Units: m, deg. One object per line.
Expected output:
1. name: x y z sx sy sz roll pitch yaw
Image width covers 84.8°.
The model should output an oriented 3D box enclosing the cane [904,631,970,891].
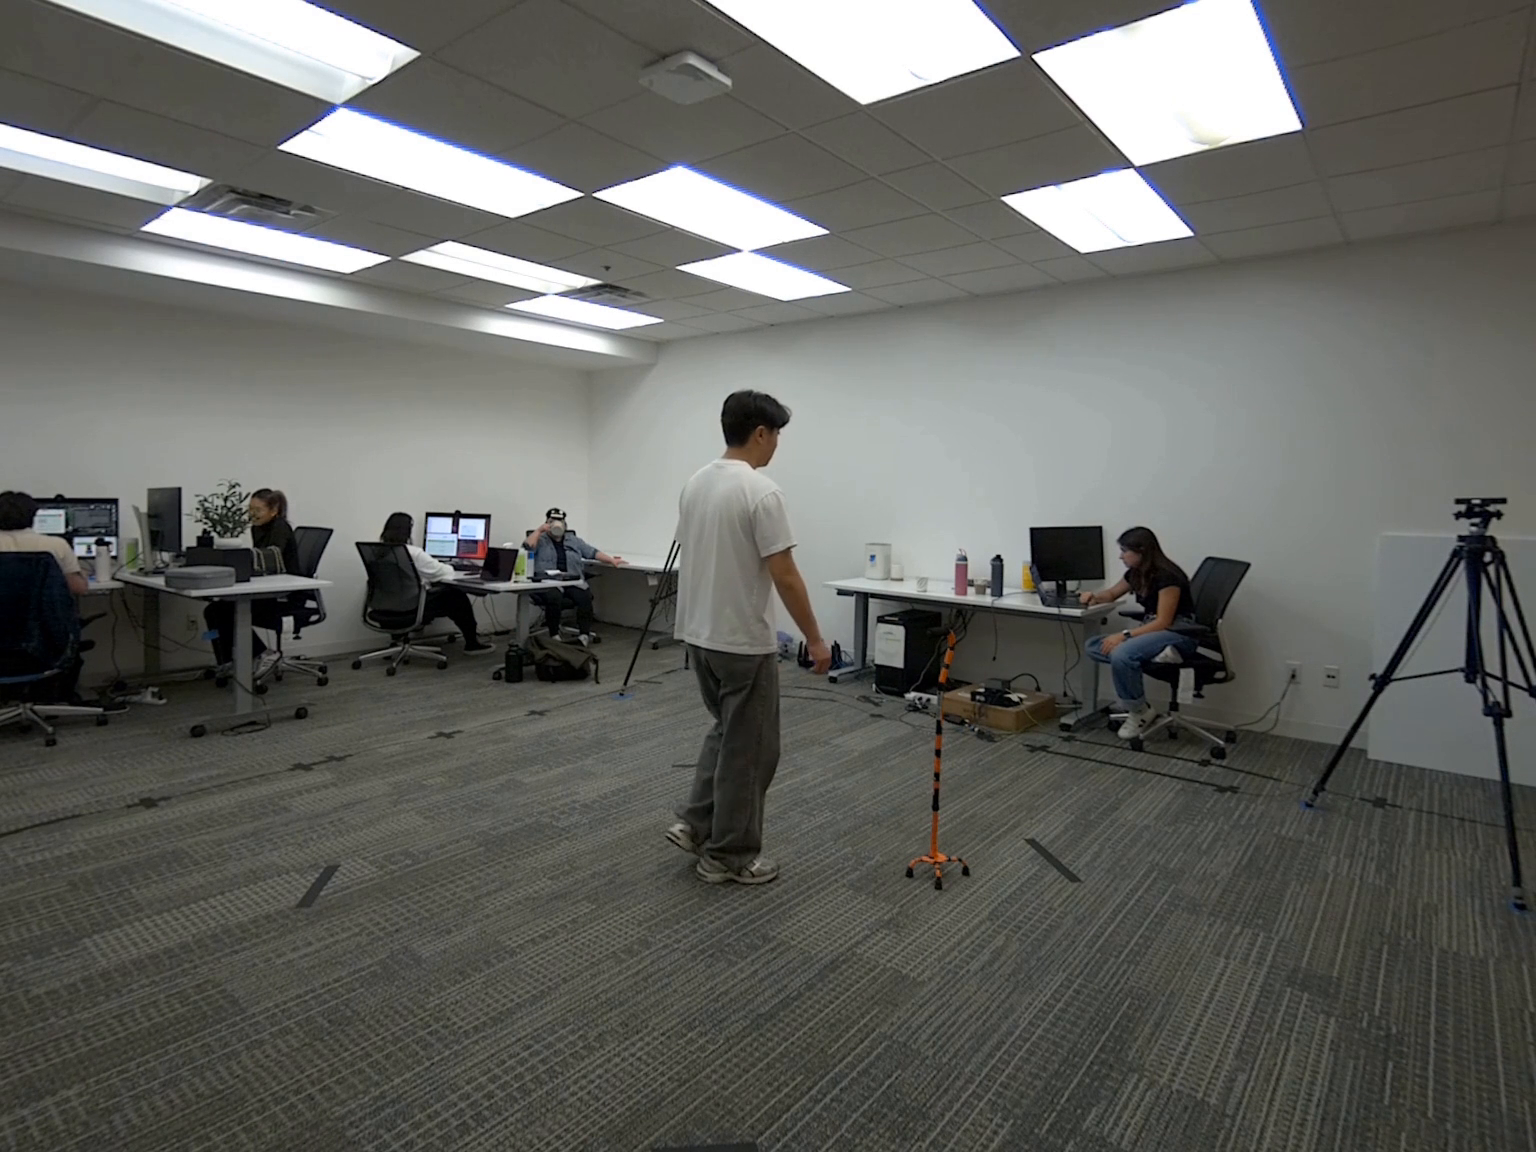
1. cane: 0.640 0.635 3.080 0.200 0.905 0.157 -2 5 -43
